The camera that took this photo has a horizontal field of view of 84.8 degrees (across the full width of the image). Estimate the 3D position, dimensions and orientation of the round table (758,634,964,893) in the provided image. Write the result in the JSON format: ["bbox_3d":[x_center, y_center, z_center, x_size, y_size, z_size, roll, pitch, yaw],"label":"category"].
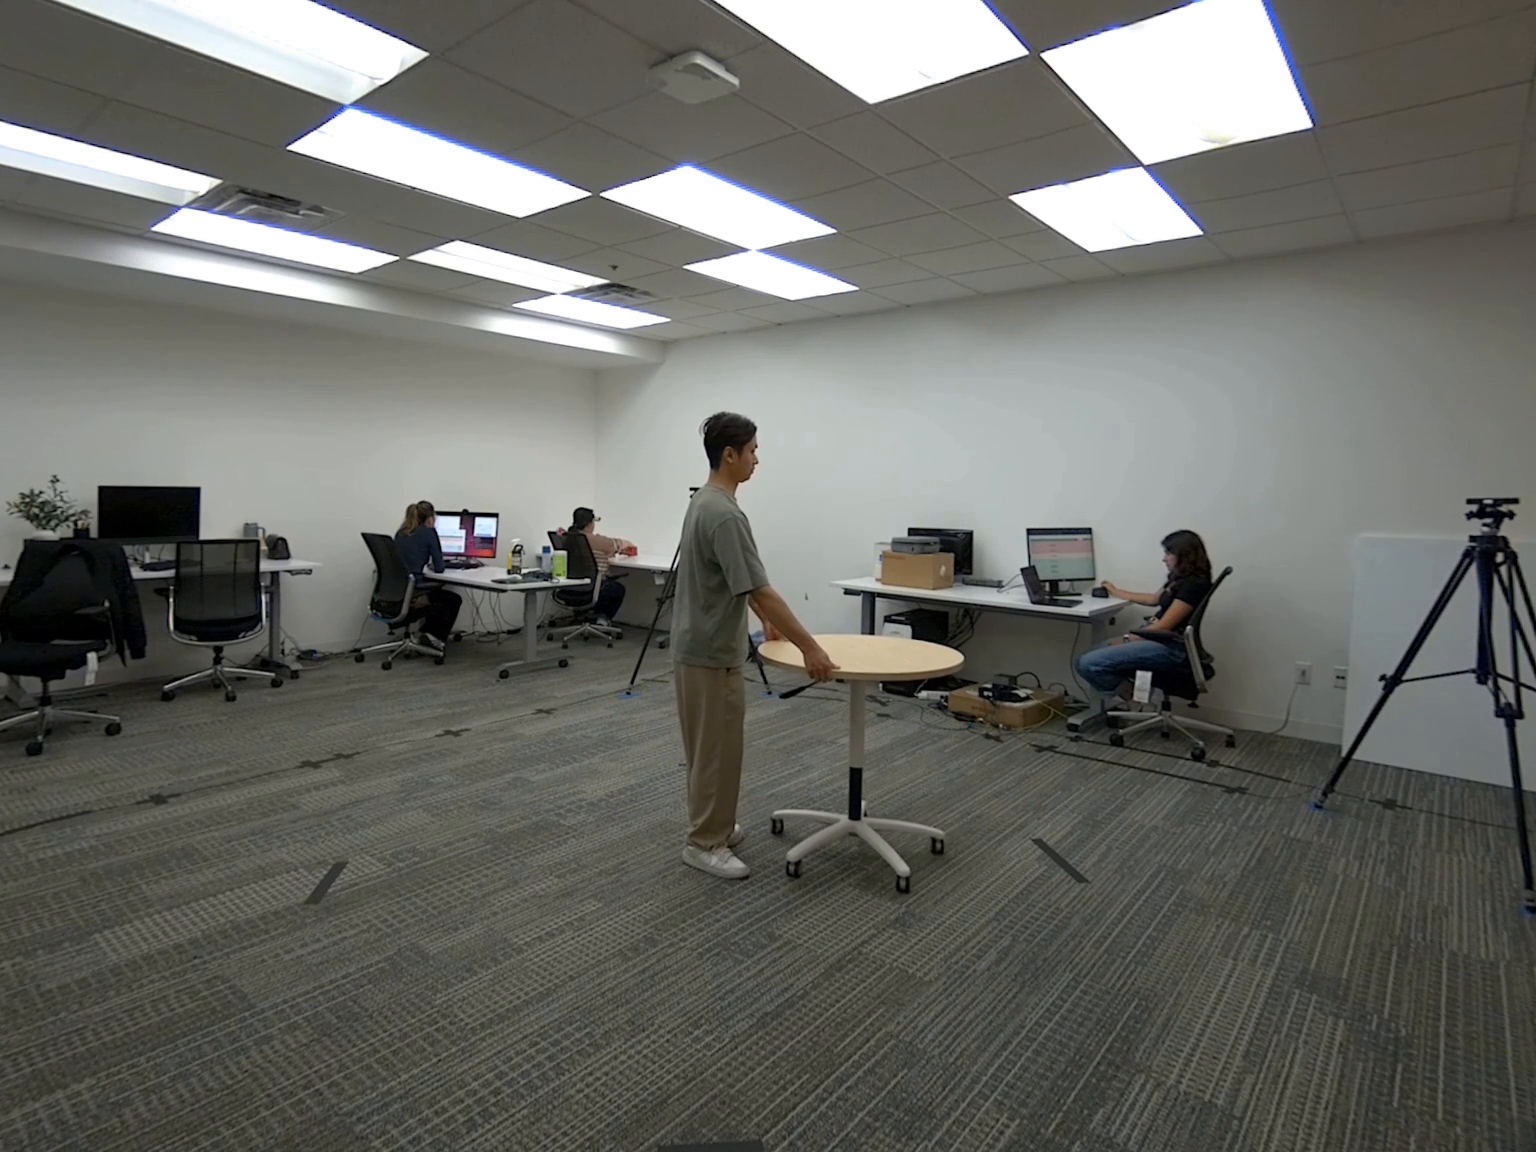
[{"bbox_3d":[0.341,0.676,3.237,0.784,0.784,0.789,0,4,-2],"label":"round table"}]
